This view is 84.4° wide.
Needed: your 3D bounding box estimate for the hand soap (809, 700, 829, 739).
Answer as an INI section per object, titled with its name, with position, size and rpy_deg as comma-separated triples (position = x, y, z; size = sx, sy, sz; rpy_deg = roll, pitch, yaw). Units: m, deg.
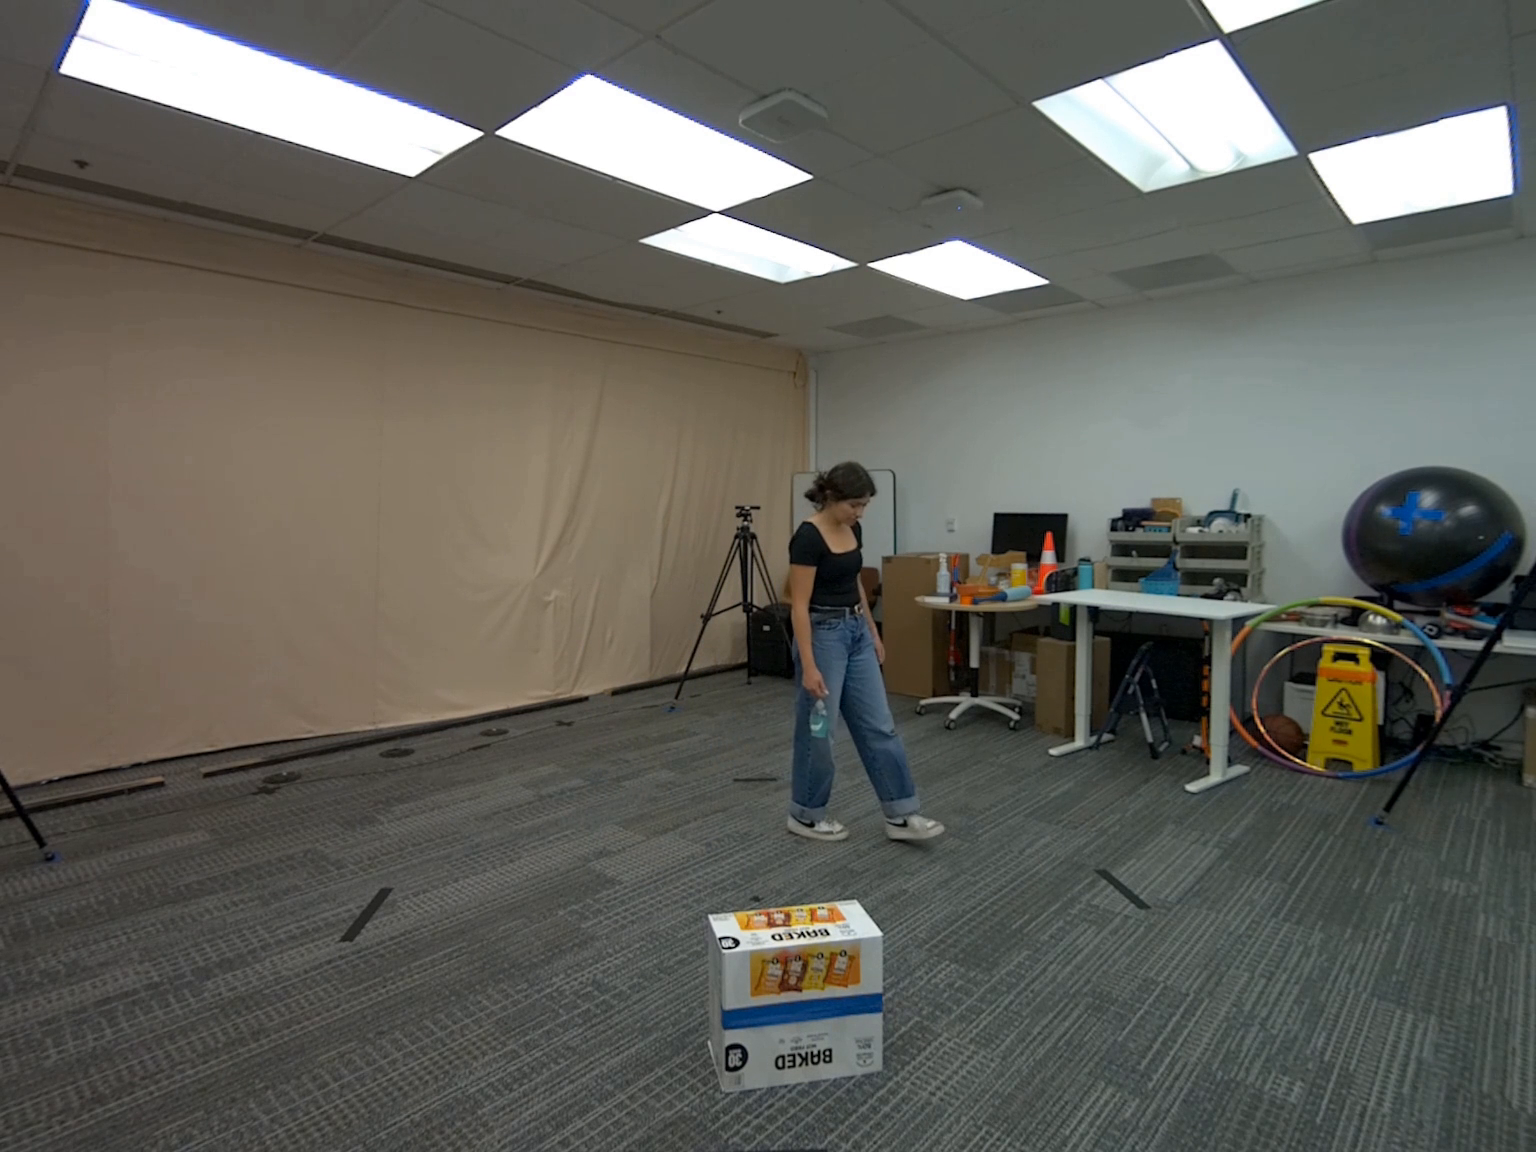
[hand soap]
position = 0.209, 0.540, 3.275
size = 0.042, 0.168, 0.087
rpy_deg = 5, -2, -33
